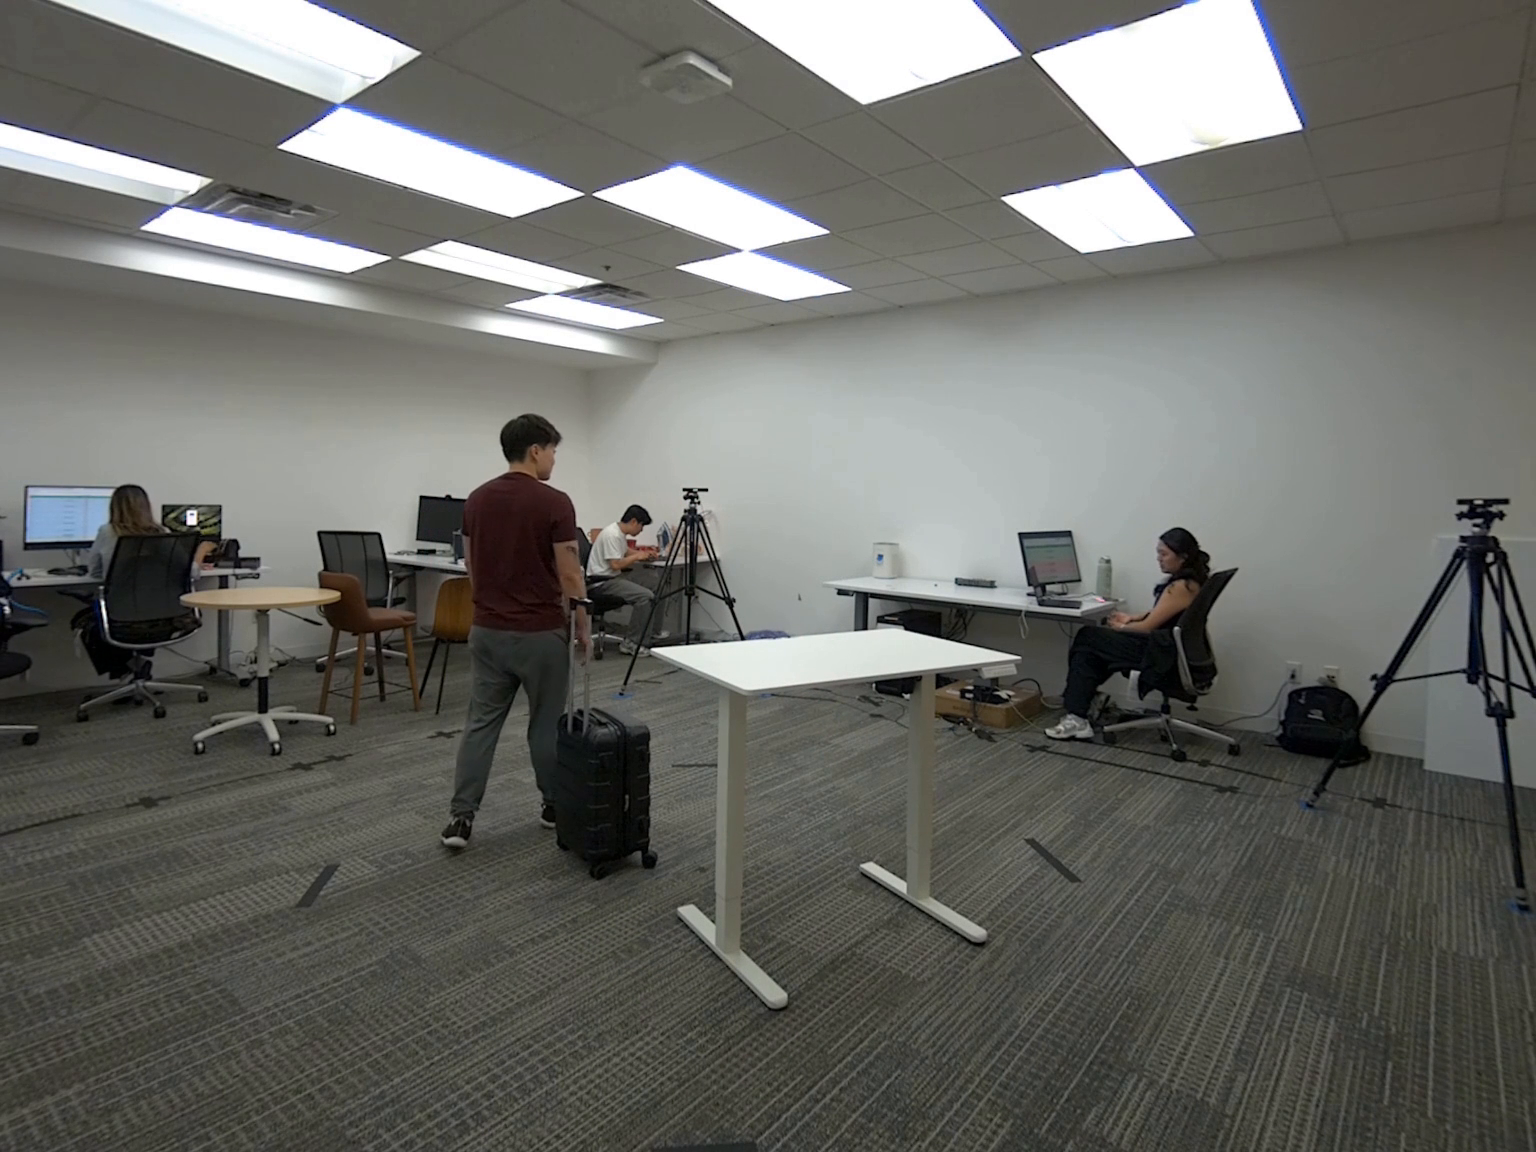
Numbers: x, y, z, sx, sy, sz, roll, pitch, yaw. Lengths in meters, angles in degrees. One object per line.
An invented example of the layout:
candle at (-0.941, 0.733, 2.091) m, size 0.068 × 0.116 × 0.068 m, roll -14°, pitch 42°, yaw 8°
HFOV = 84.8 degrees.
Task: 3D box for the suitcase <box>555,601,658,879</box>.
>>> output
suitcase at (-0.623, 0.578, 3.169) m, size 0.250 × 0.976 × 0.396 m, roll 0°, pitch 3°, yaw -32°
